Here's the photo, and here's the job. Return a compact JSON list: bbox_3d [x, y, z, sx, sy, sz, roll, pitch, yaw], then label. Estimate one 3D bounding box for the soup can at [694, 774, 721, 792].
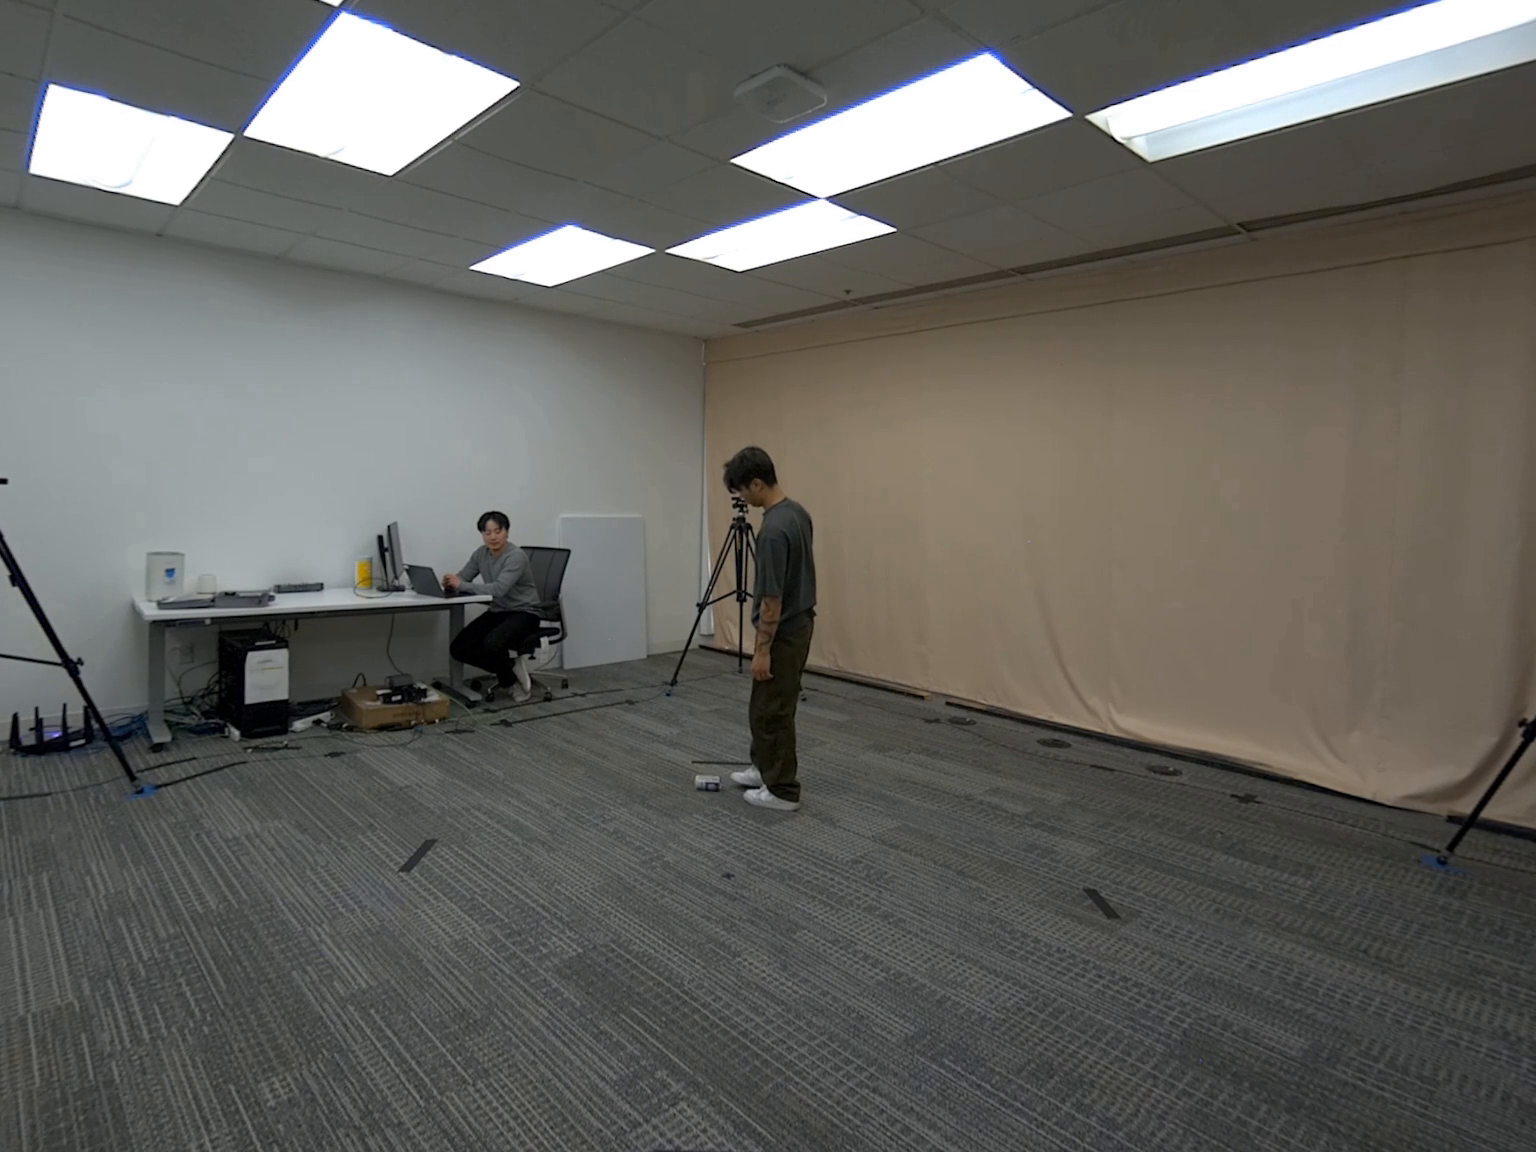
[{"bbox_3d":[-0.291,0.983,4.032,0.122,0.067,0.067,3,4,1],"label":"soup can"}]
